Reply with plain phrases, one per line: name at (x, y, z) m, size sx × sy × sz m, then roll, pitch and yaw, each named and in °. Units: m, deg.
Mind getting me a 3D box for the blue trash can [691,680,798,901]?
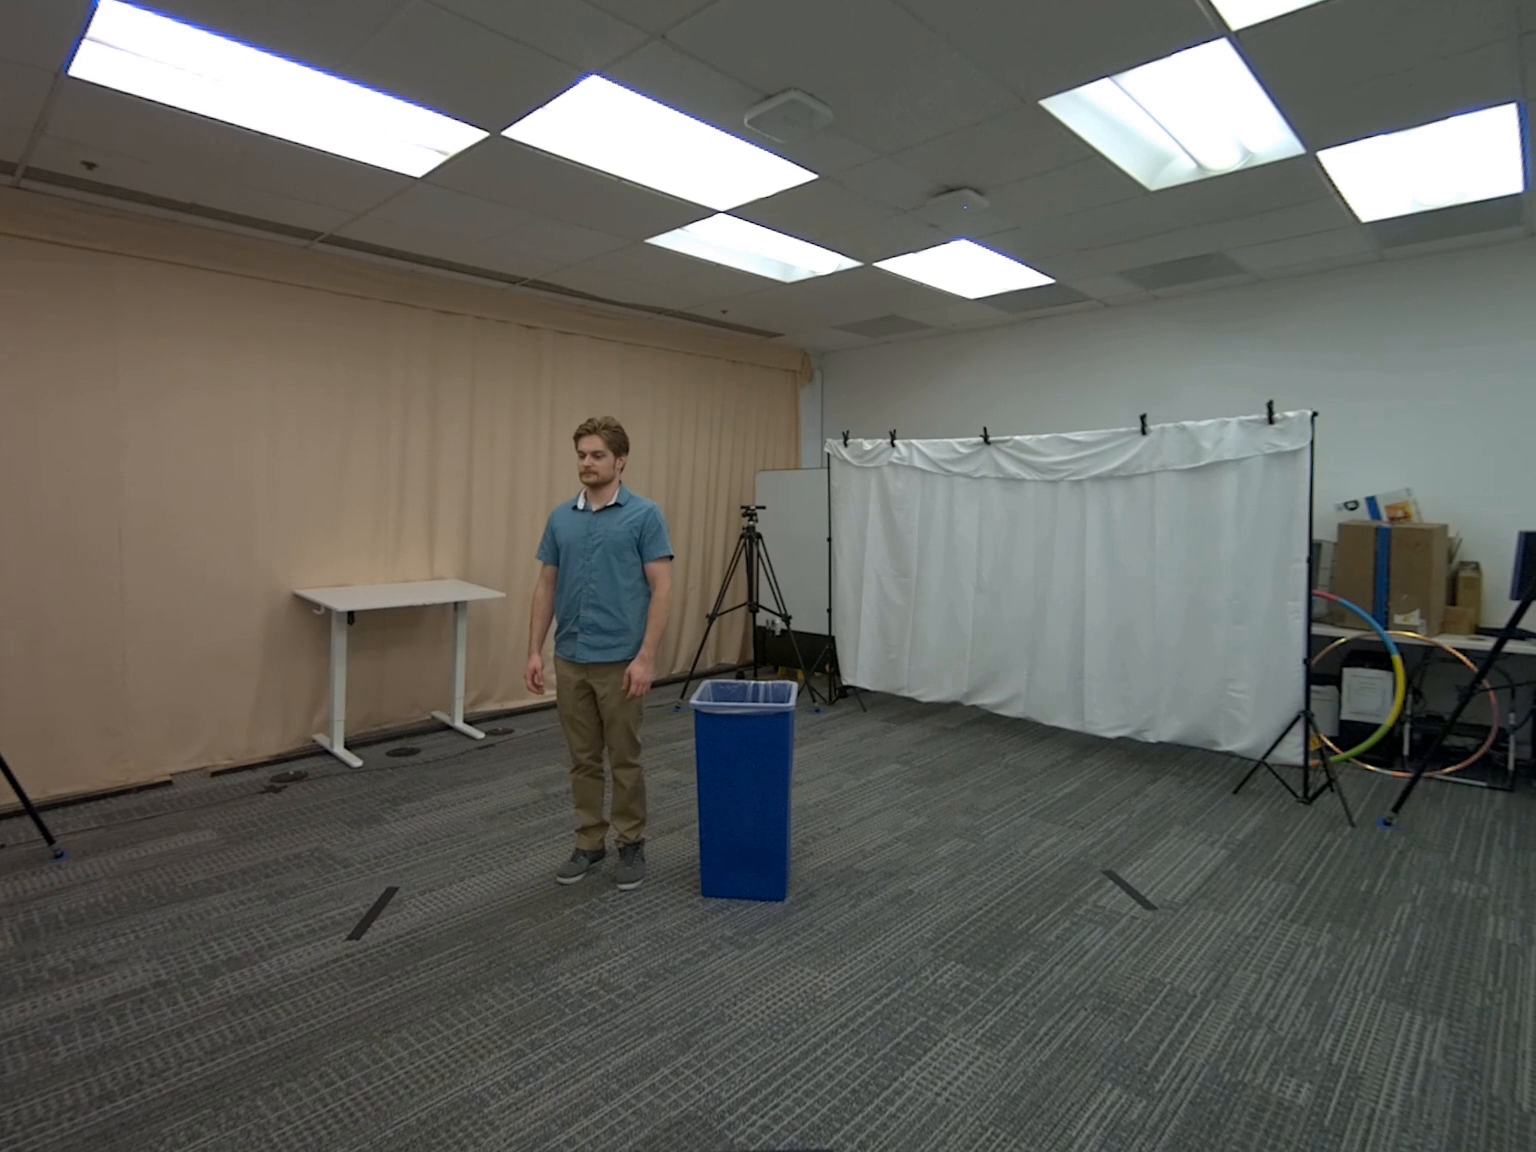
blue trash can at (-0.085, 0.777, 3.094) m, size 0.377 × 0.712 × 0.376 m, roll 1°, pitch 4°, yaw 5°
